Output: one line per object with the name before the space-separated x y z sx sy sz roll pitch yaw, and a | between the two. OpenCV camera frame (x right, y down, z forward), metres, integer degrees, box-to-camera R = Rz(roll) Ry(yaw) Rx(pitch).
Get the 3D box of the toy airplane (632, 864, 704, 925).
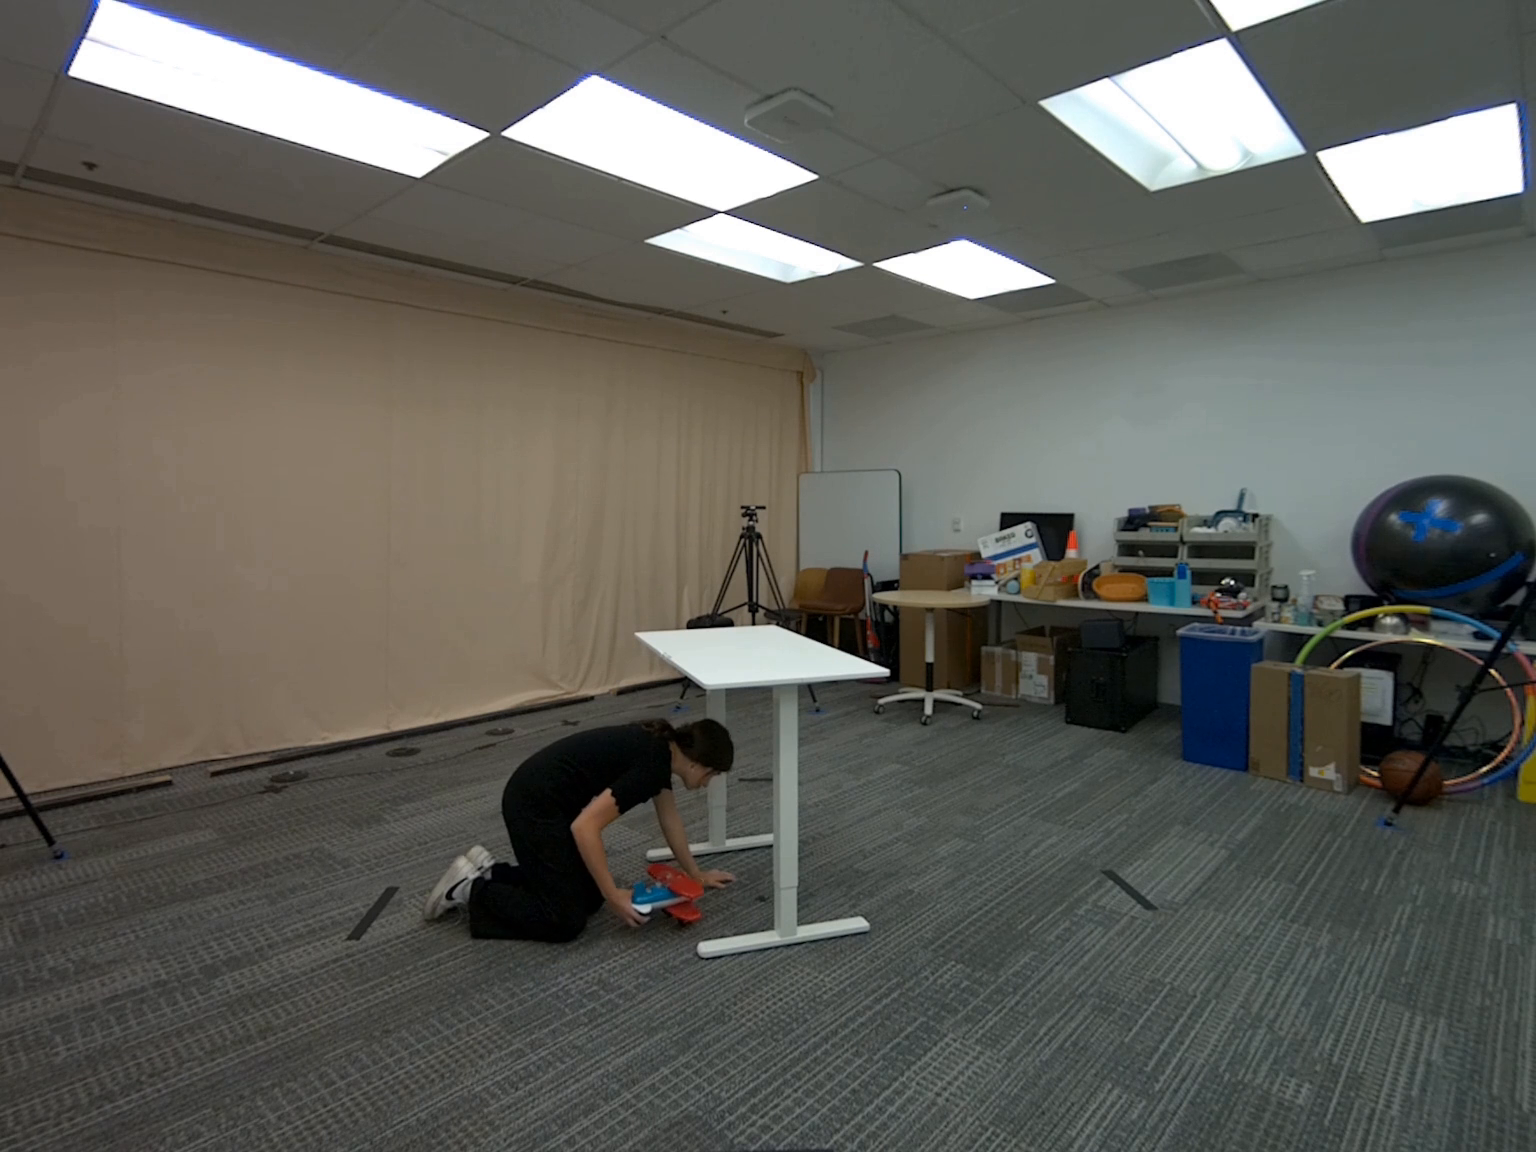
toy airplane | -0.335 1.063 2.763 0.257 0.157 0.253 13 -7 18
